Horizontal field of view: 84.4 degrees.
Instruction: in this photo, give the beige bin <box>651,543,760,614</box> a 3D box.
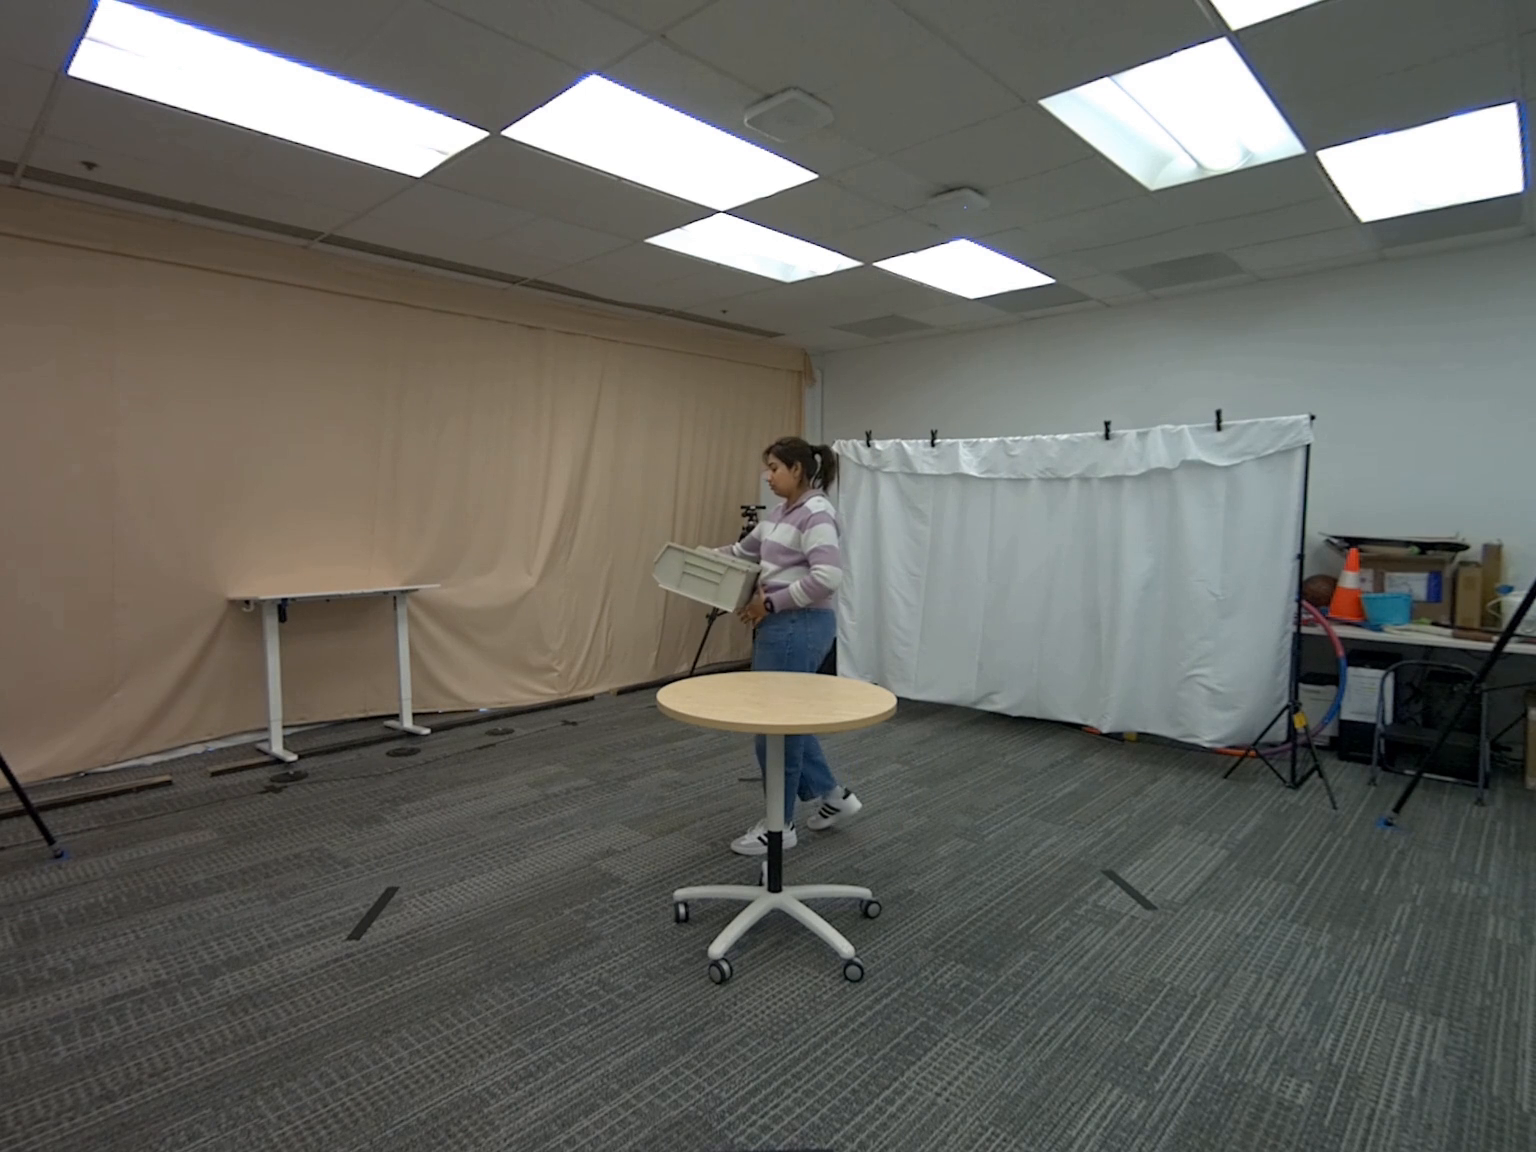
[{"bbox_3d":[-0.226,0.002,3.444,0.383,0.189,0.416,19,2,12],"label":"beige bin"}]
